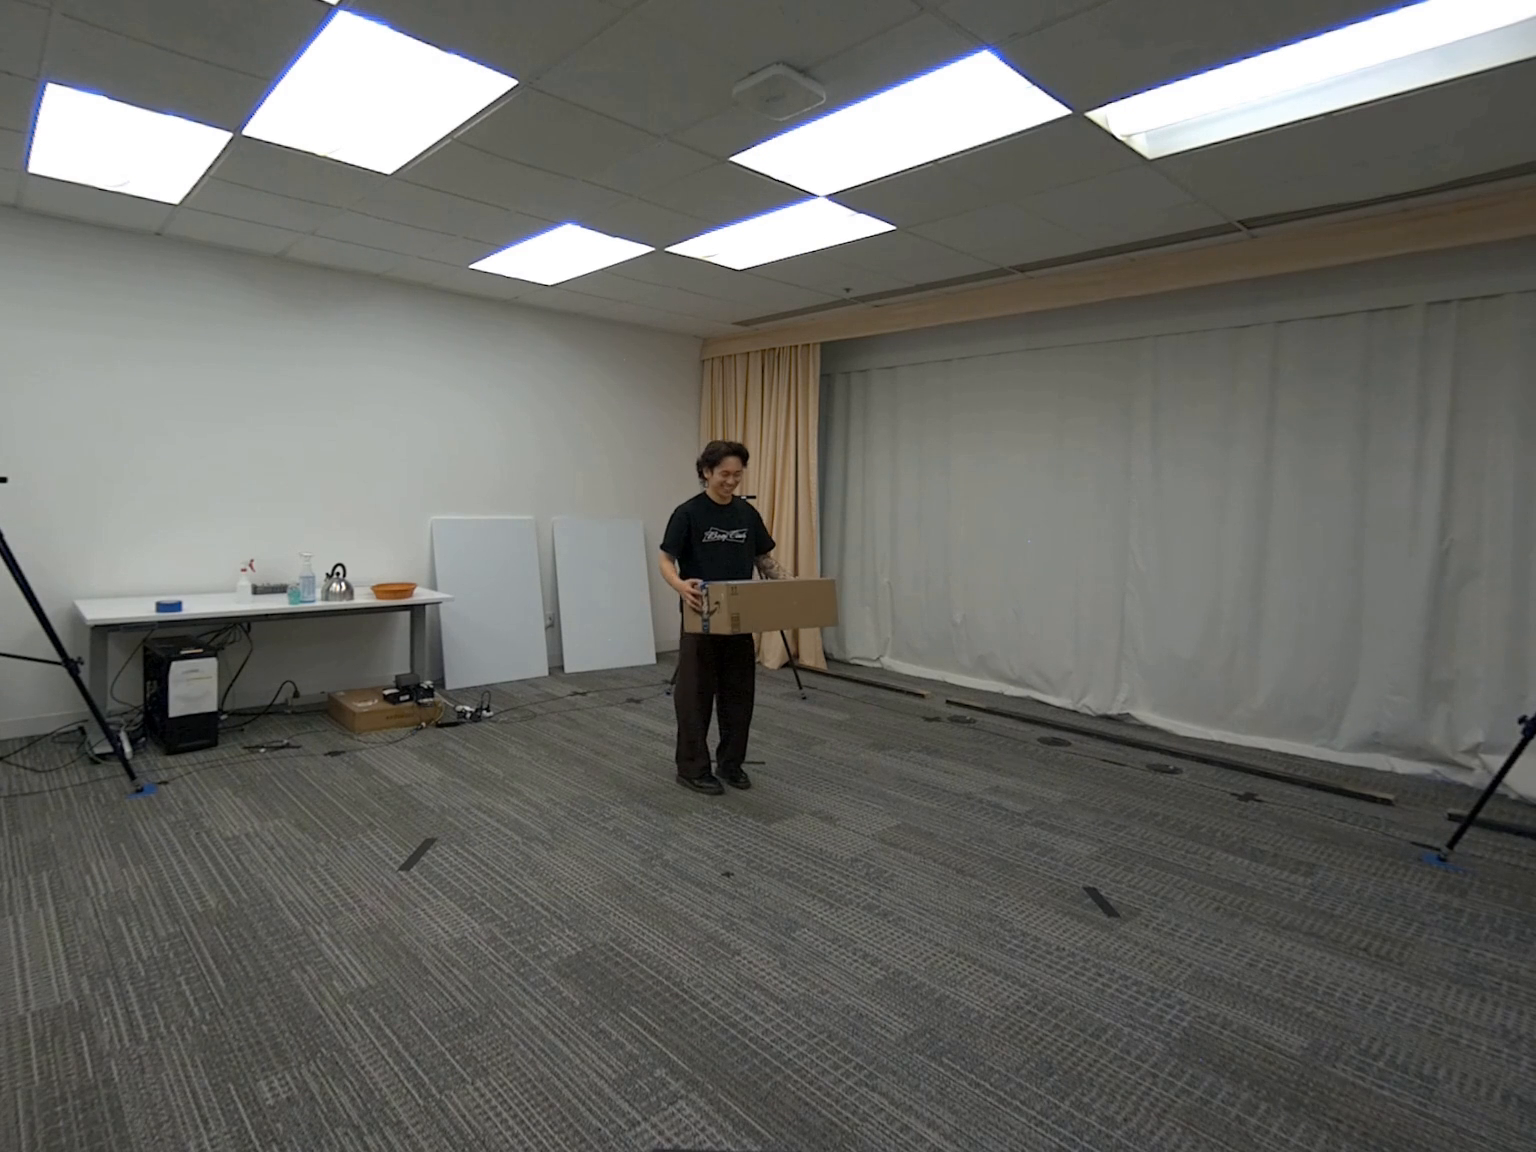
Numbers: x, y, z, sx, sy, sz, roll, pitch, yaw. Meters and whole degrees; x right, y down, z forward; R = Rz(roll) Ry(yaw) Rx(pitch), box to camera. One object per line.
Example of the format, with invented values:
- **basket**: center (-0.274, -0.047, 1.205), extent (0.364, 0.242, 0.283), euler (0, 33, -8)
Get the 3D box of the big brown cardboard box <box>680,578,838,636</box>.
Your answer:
- **big brown cardboard box**: center (-0.047, 0.130, 3.788), extent (0.577, 0.233, 0.425), euler (-1, -1, -32)
